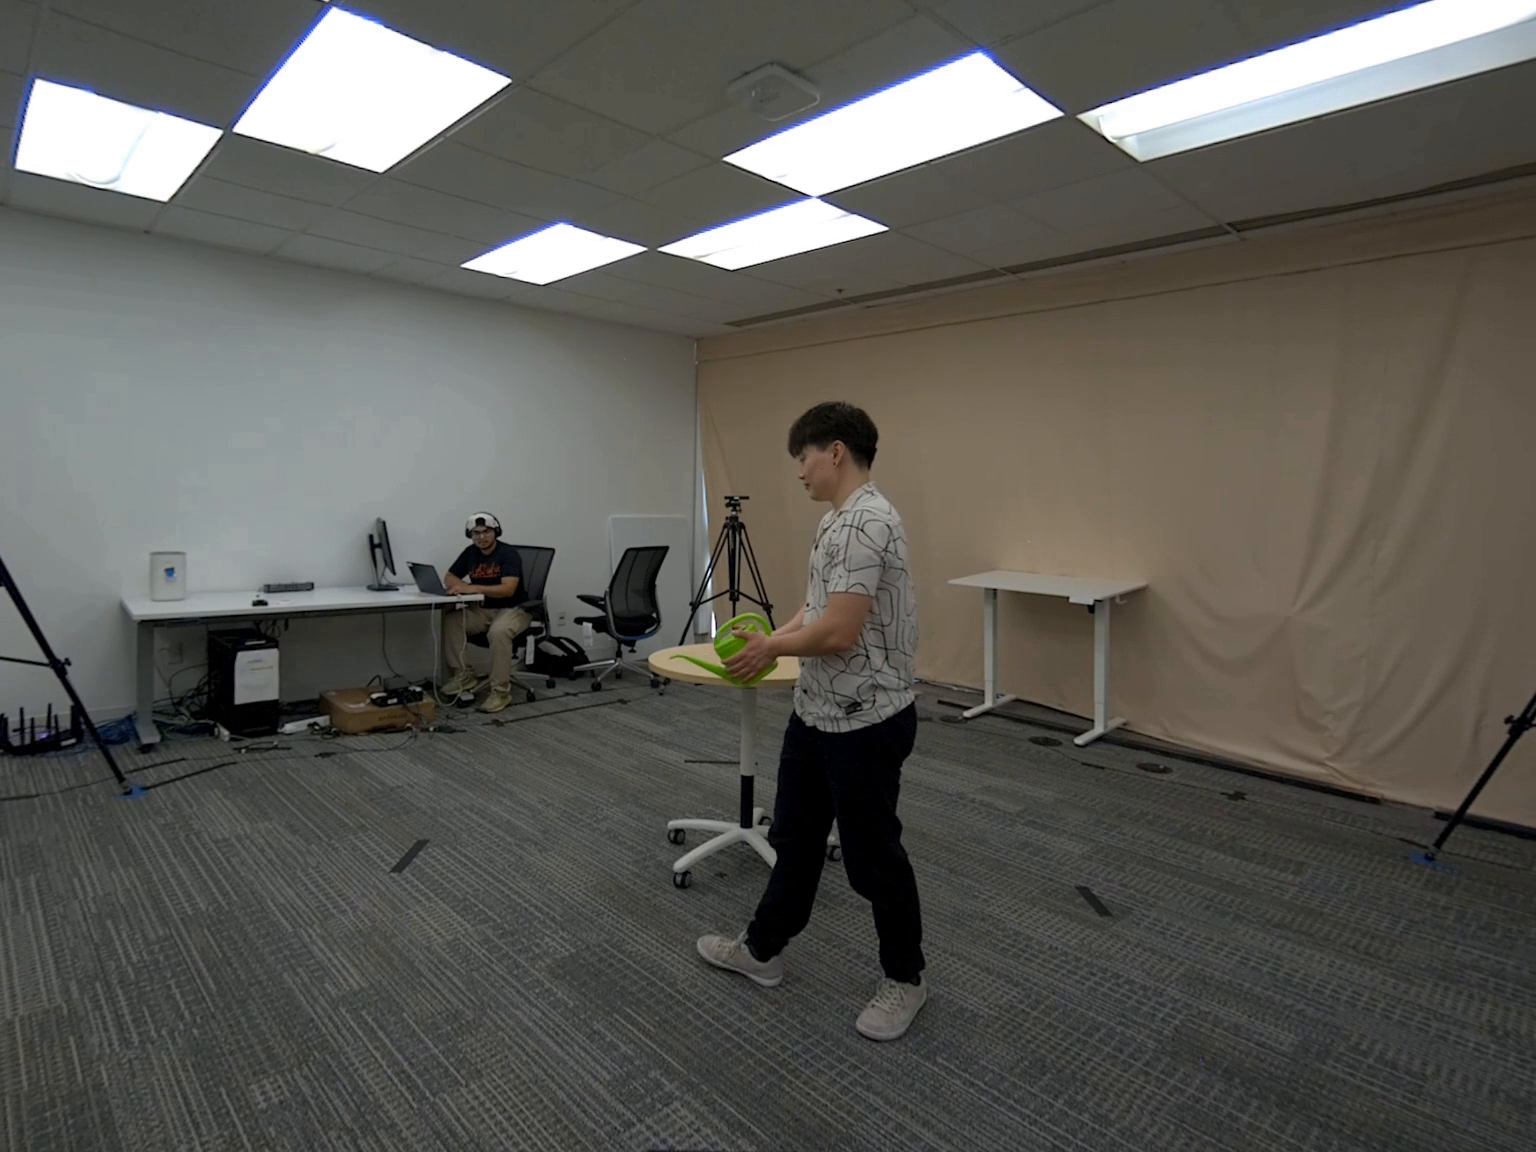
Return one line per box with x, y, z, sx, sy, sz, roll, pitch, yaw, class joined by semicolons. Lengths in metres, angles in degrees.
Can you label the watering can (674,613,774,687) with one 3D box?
-0.109;0.225;2.313;0.279;0.176;0.098;-30;2;15;watering can
